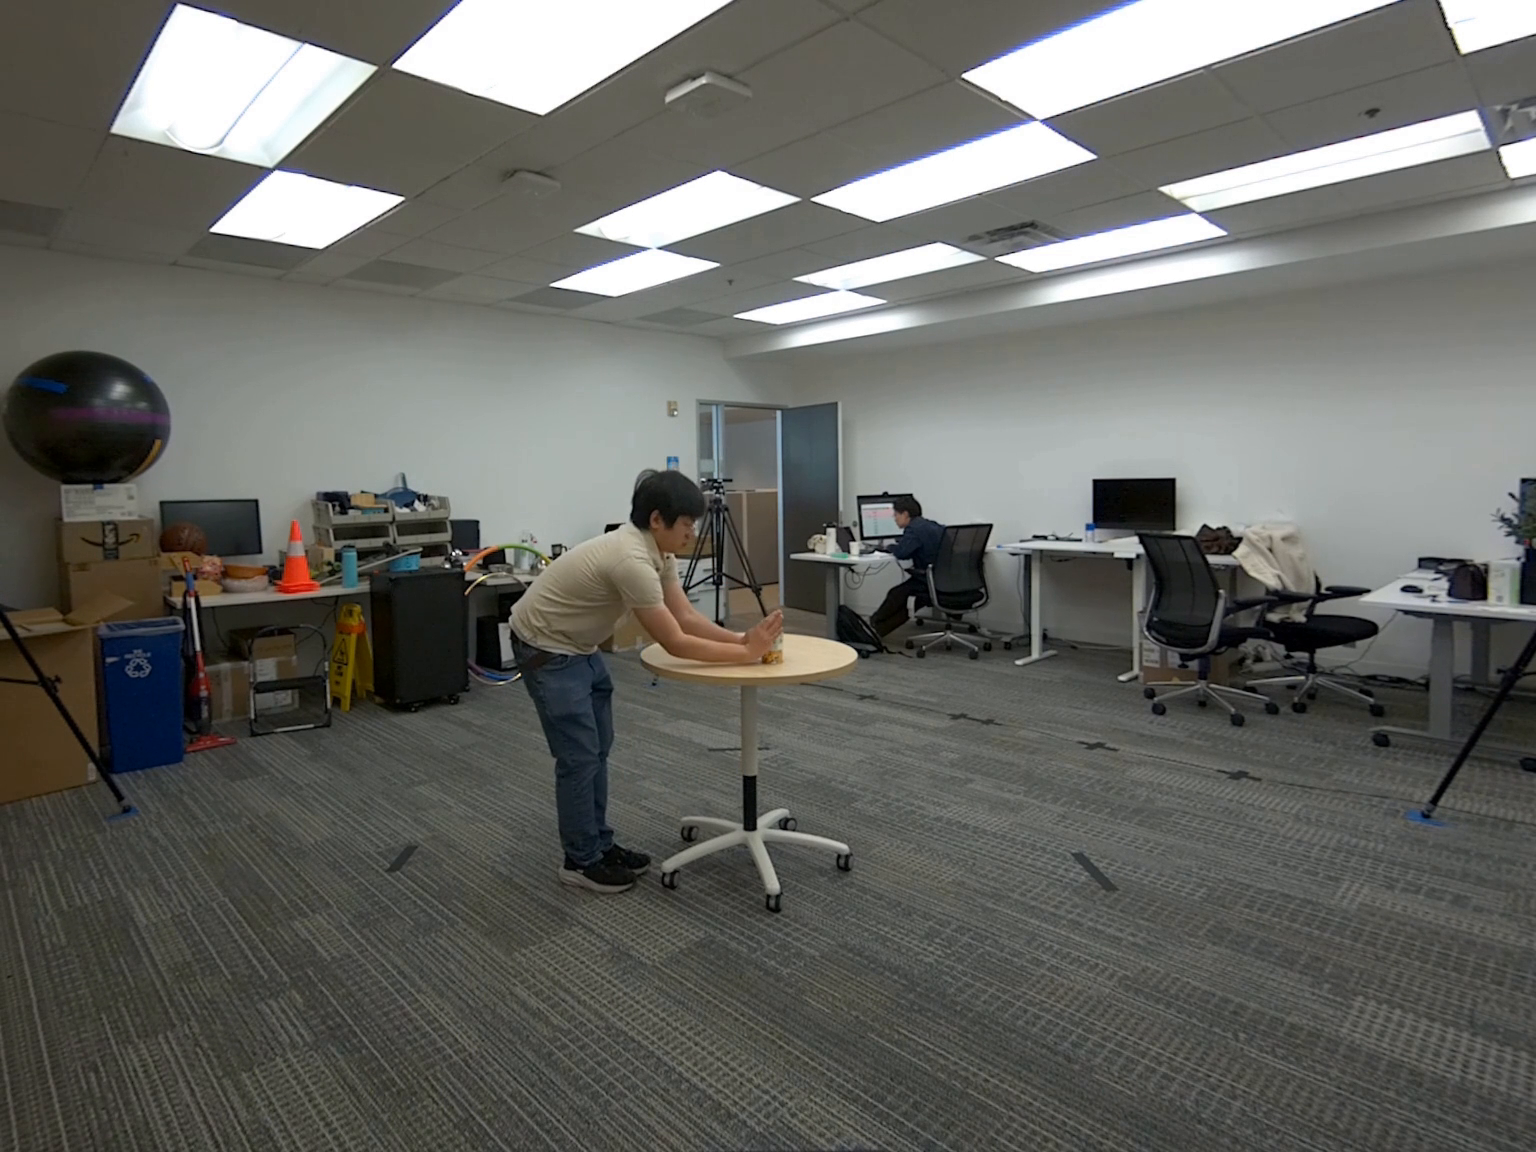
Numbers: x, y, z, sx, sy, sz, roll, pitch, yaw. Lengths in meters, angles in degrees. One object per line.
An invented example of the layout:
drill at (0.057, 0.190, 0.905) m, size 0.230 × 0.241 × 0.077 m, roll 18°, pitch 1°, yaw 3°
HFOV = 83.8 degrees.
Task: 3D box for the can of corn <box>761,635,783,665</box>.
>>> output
can of corn at (0.006, 0.234, 2.860) m, size 0.074 × 0.110 × 0.075 m, roll 0°, pitch 6°, yaw -2°
